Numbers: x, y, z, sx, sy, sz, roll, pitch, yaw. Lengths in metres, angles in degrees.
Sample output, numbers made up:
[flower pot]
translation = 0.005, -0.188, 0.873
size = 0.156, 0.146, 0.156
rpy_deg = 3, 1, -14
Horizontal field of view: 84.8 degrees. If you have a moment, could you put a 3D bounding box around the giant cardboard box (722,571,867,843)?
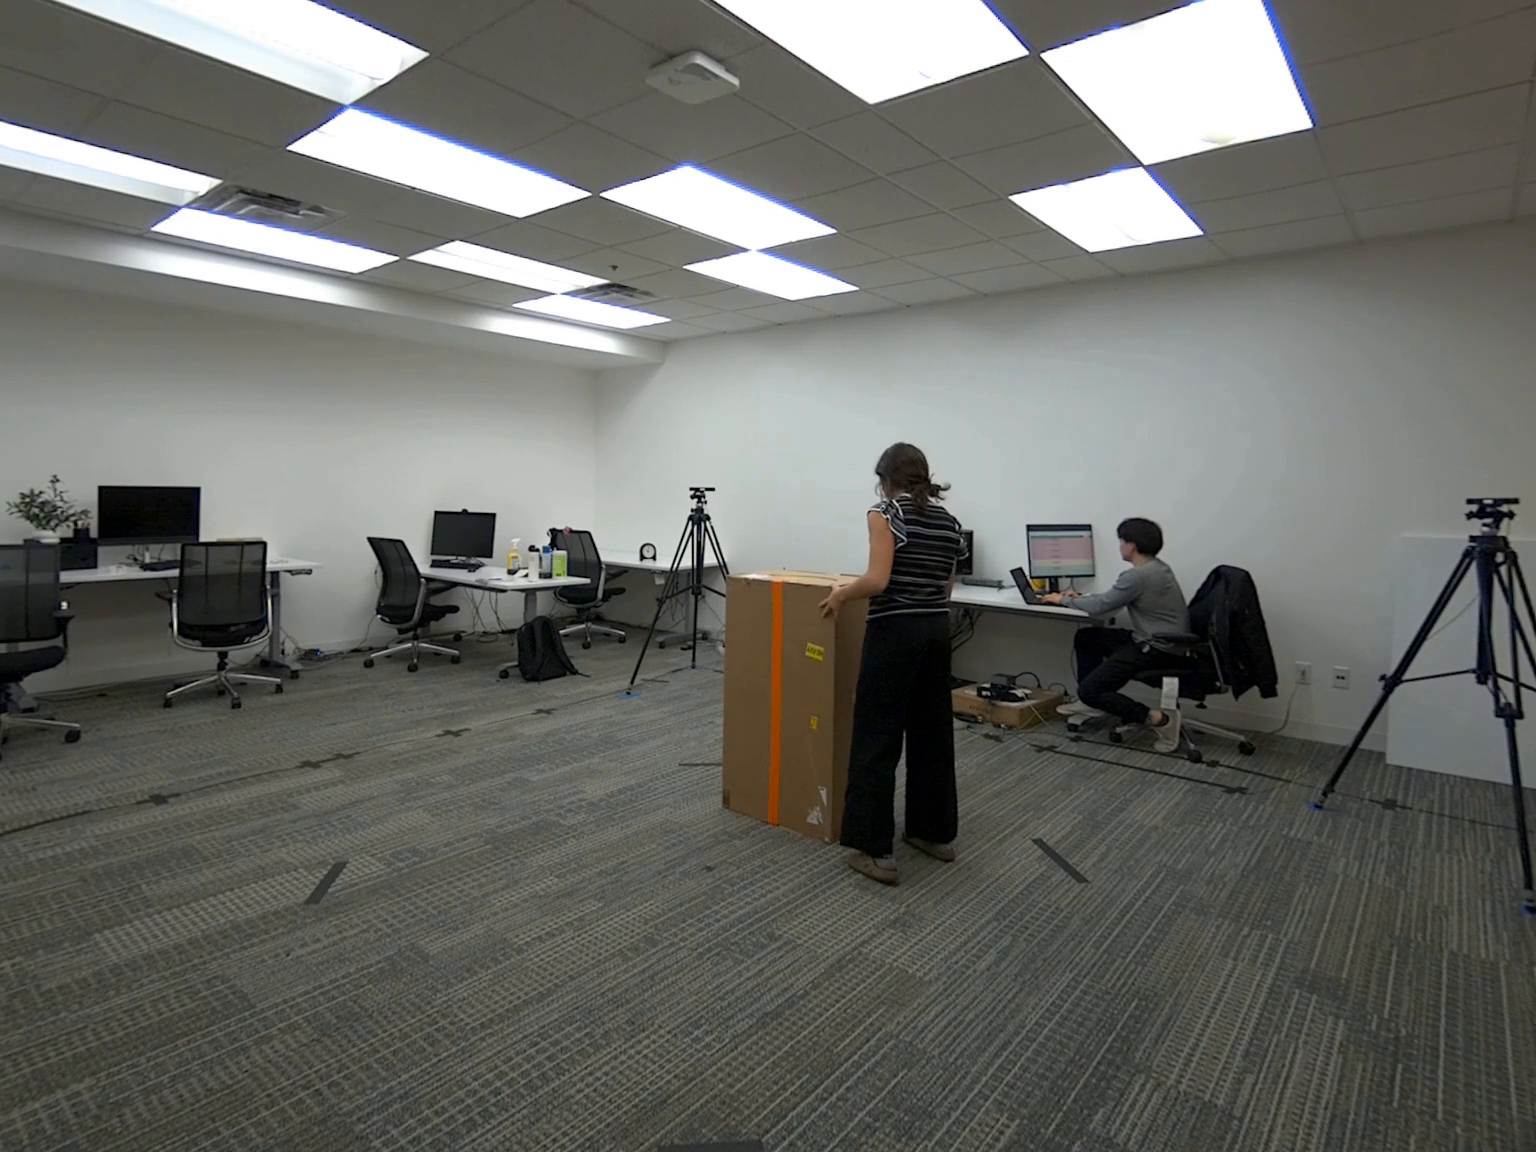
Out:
[giant cardboard box]
translation = 0.144, 0.514, 3.664
size = 0.597, 1.023, 0.413
rpy_deg = 3, 4, 41
